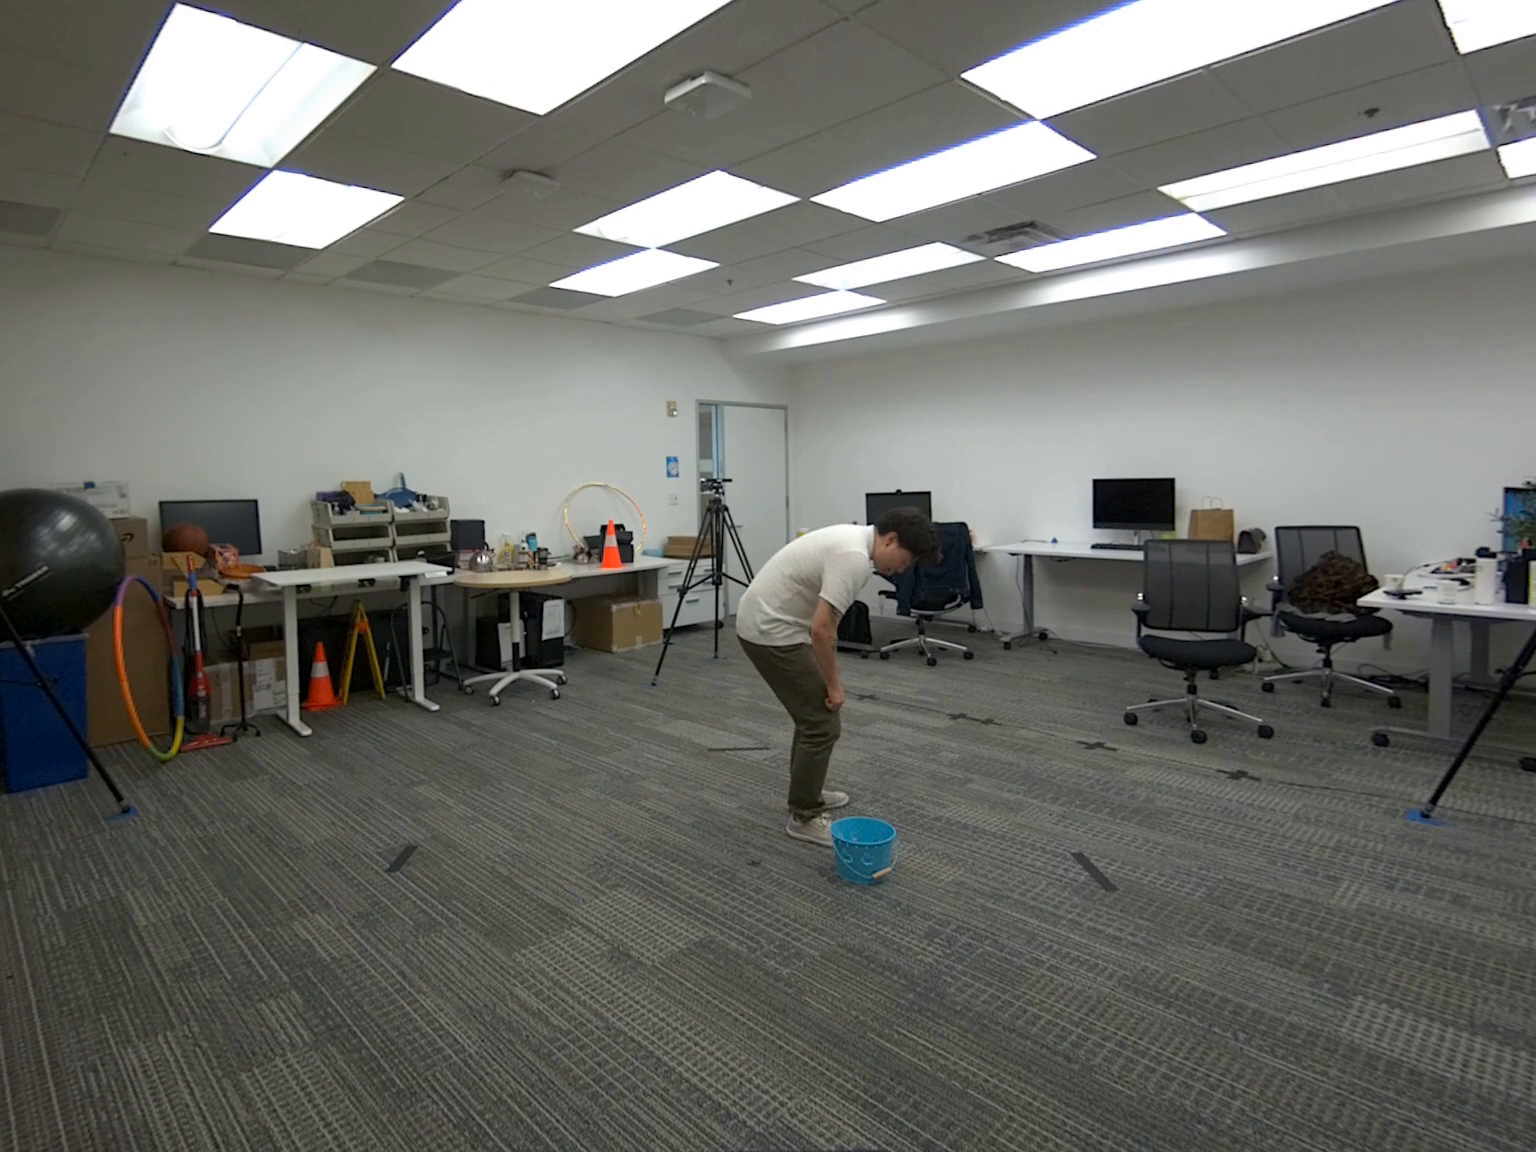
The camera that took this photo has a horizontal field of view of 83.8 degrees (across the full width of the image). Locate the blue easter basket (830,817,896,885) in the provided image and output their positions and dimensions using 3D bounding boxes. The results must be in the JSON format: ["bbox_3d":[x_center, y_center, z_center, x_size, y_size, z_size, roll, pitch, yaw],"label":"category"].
[{"bbox_3d":[0.337,0.974,3.017,0.243,0.155,0.245,-2,5,-2],"label":"blue easter basket"}]
